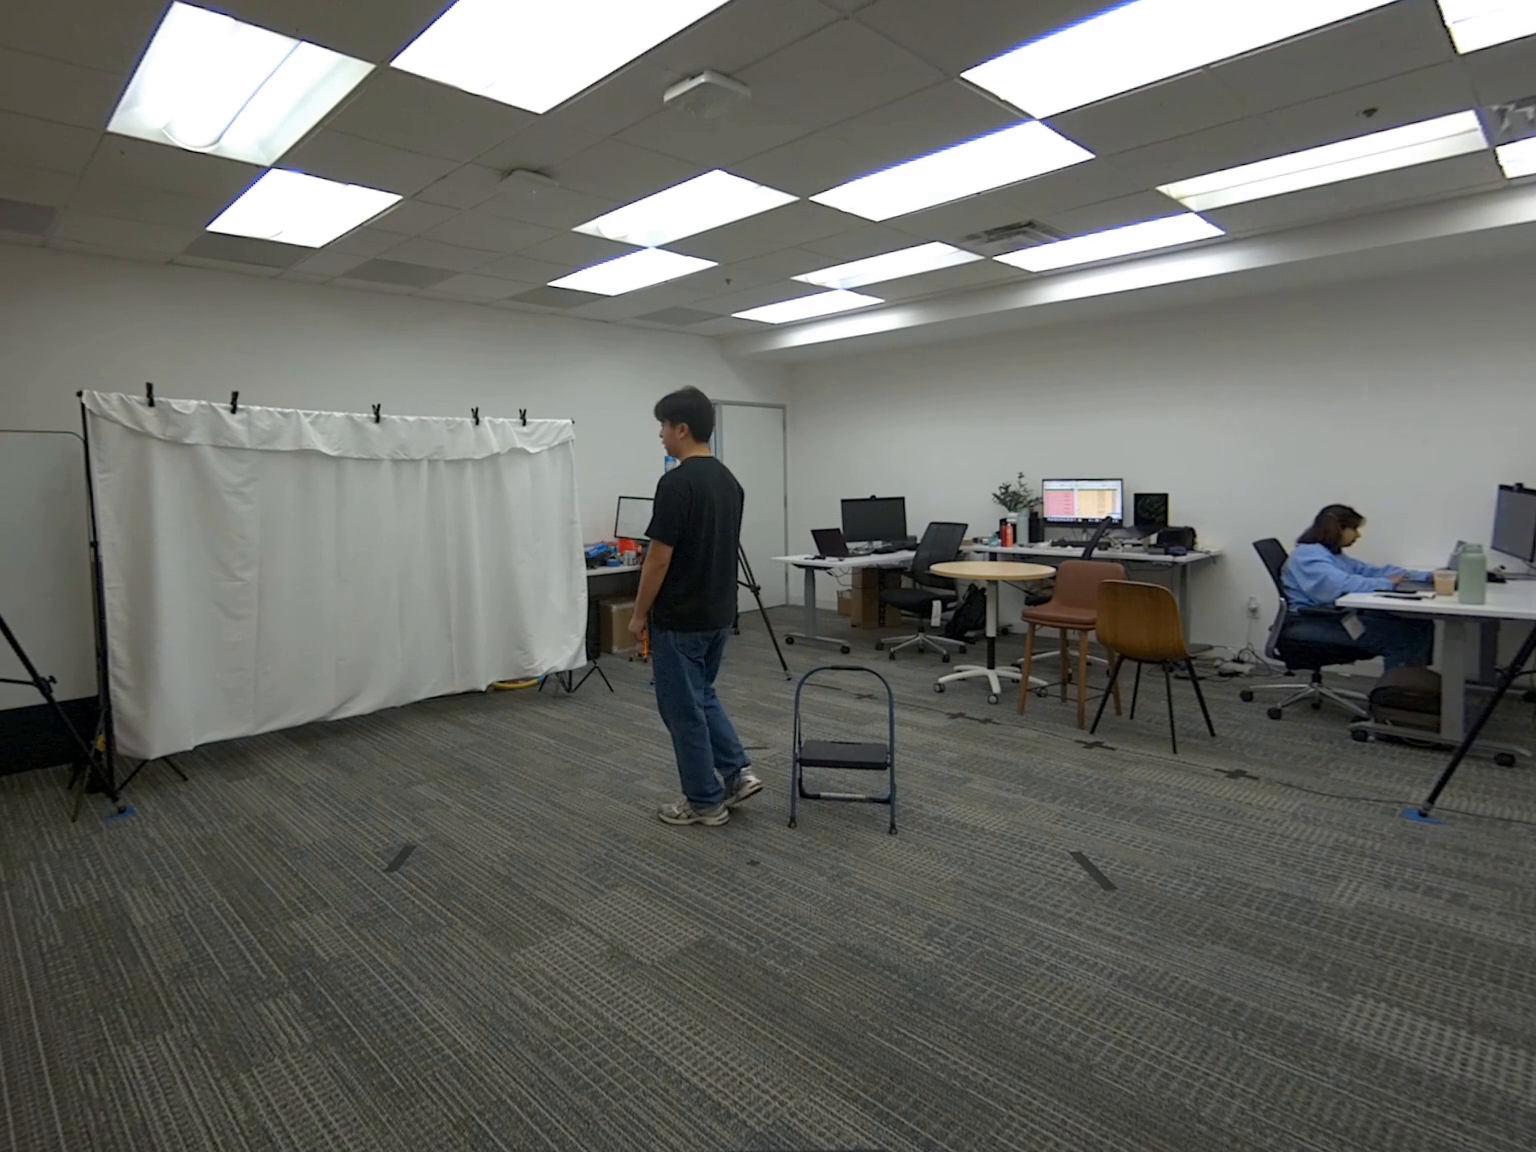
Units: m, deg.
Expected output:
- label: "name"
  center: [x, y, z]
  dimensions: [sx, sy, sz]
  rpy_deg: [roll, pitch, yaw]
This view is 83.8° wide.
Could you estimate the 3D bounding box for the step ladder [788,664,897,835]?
- label: "step ladder"
  center: [0.315, 0.686, 3.520]
  dimensions: [0.435, 0.603, 0.347]
  rpy_deg: [0, 5, 9]
